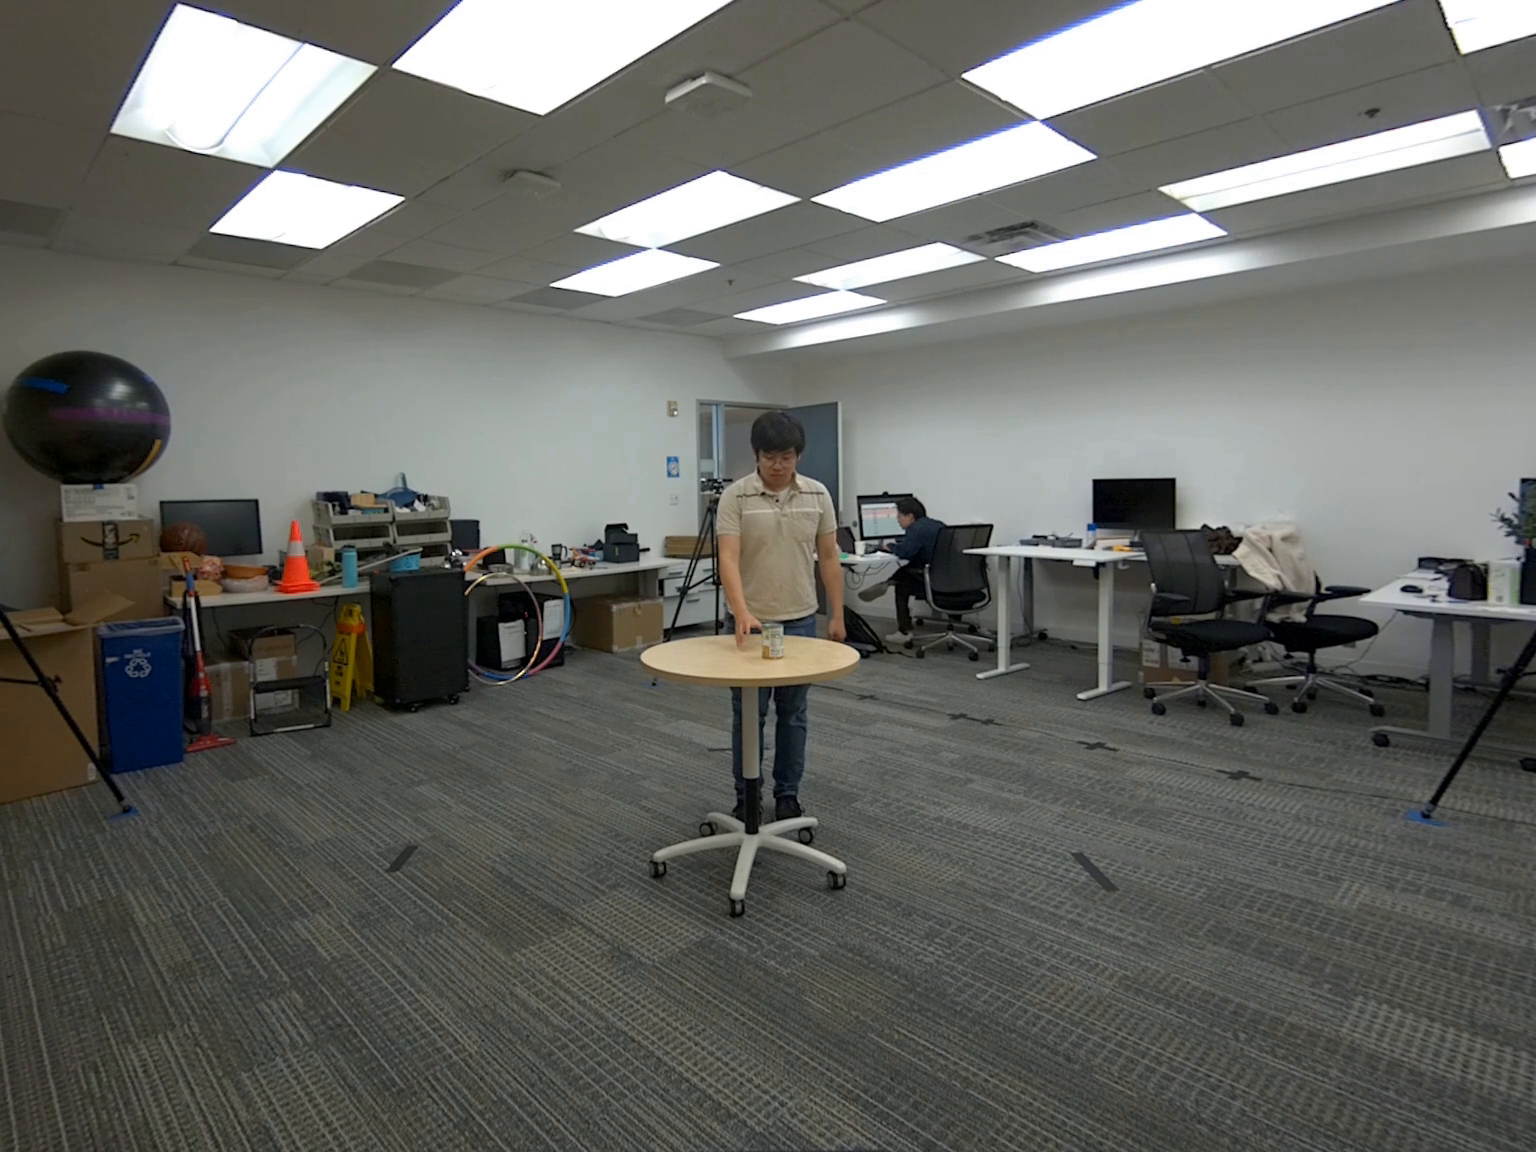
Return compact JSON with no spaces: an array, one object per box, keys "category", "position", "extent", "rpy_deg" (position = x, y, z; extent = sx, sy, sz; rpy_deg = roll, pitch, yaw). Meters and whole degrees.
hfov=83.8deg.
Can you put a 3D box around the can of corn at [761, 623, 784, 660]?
[{"category":"can of corn","position":[0.013,0.230,2.927],"extent":[0.074,0.111,0.074],"rpy_deg":[-4,4,-1]}]
